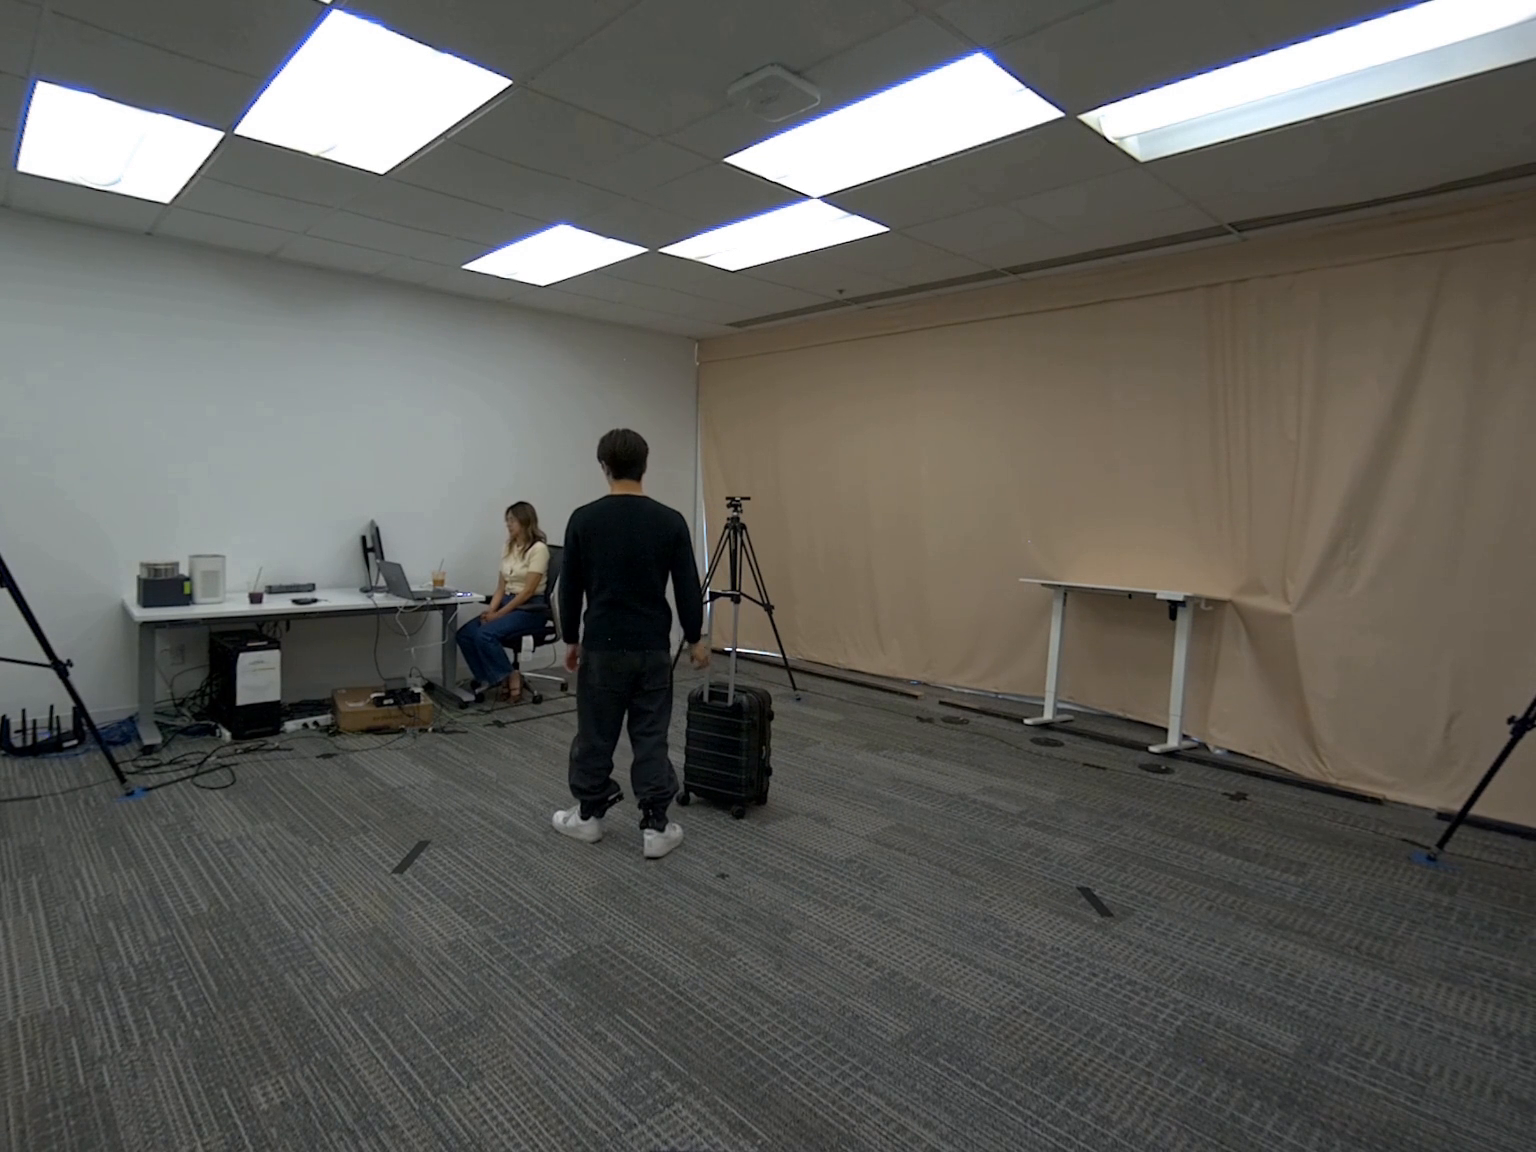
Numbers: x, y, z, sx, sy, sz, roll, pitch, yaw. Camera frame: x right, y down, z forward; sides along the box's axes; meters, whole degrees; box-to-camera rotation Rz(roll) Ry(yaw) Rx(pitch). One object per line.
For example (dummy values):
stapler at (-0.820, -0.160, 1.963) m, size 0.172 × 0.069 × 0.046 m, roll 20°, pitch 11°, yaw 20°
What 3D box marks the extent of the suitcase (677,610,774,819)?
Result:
suitcase at (-0.178, 0.563, 3.842) m, size 0.392 × 0.978 × 0.251 m, roll 5°, pitch 1°, yaw 30°
